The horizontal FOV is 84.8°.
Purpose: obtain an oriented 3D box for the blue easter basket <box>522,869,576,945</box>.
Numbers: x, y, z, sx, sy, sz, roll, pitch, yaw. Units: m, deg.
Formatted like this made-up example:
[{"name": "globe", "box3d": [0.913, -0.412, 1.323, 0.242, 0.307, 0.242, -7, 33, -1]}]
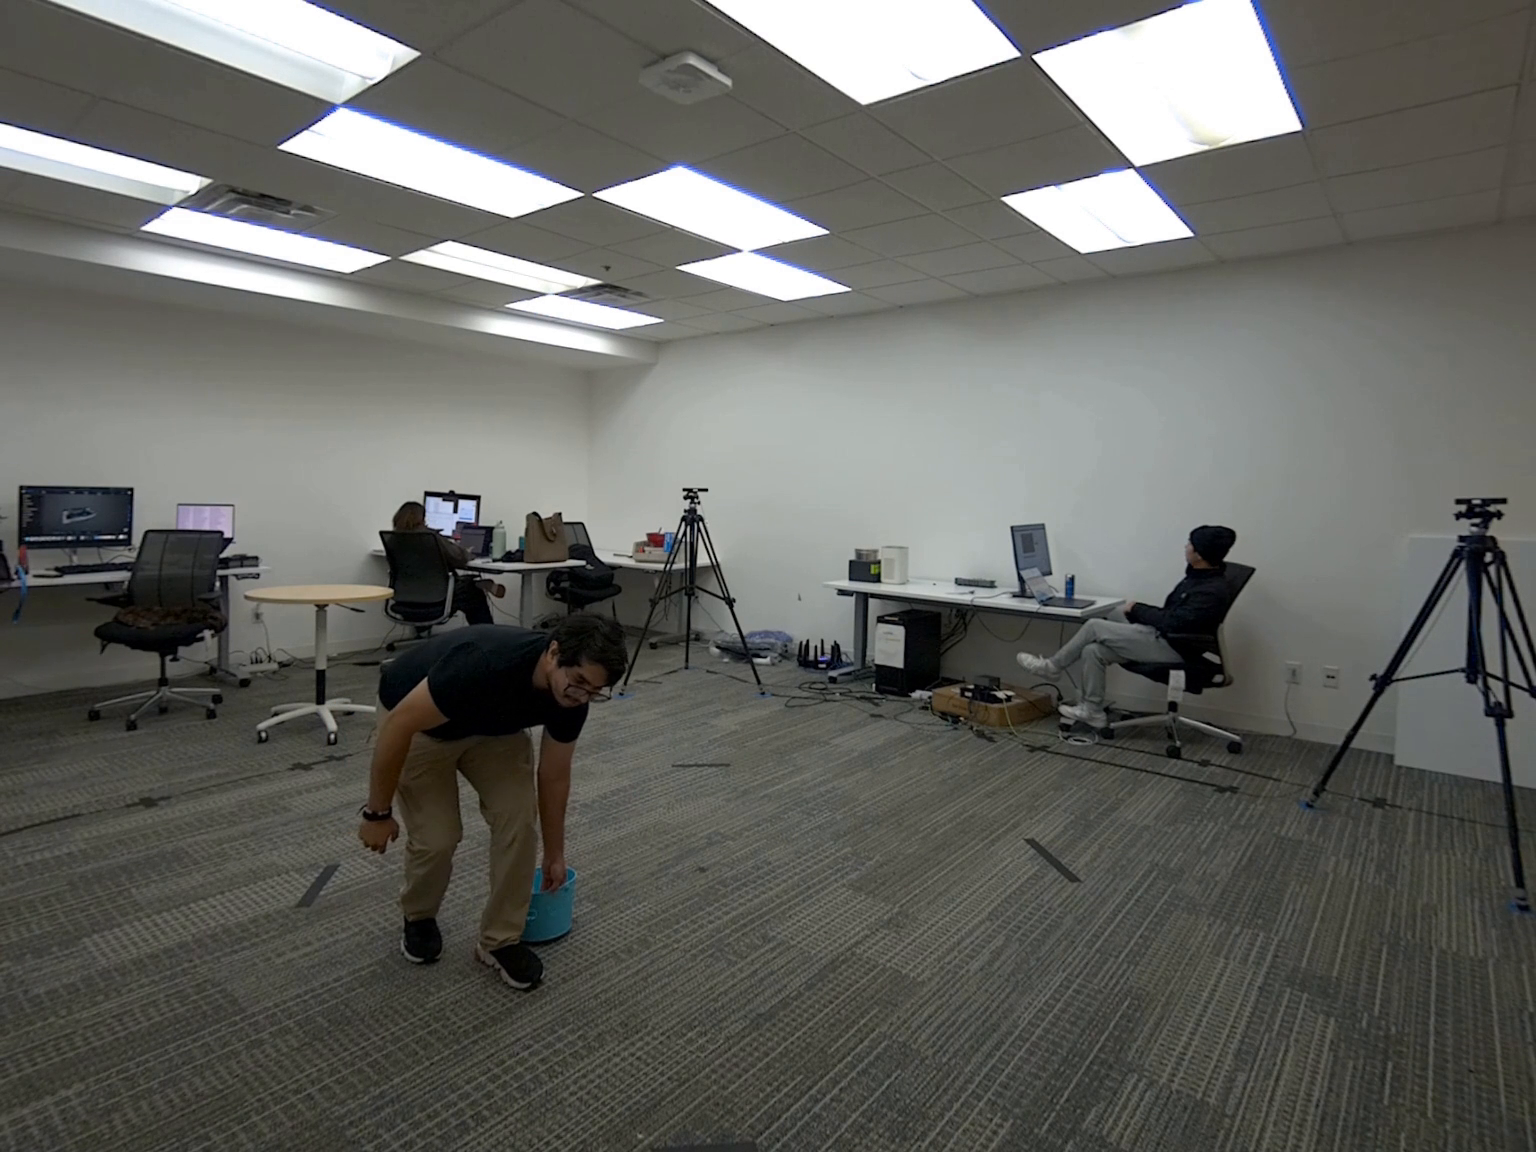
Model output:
[{"name": "blue easter basket", "box3d": [-0.714, 1.022, 2.652, 0.243, 0.156, 0.244, -4, 1, -2]}]
